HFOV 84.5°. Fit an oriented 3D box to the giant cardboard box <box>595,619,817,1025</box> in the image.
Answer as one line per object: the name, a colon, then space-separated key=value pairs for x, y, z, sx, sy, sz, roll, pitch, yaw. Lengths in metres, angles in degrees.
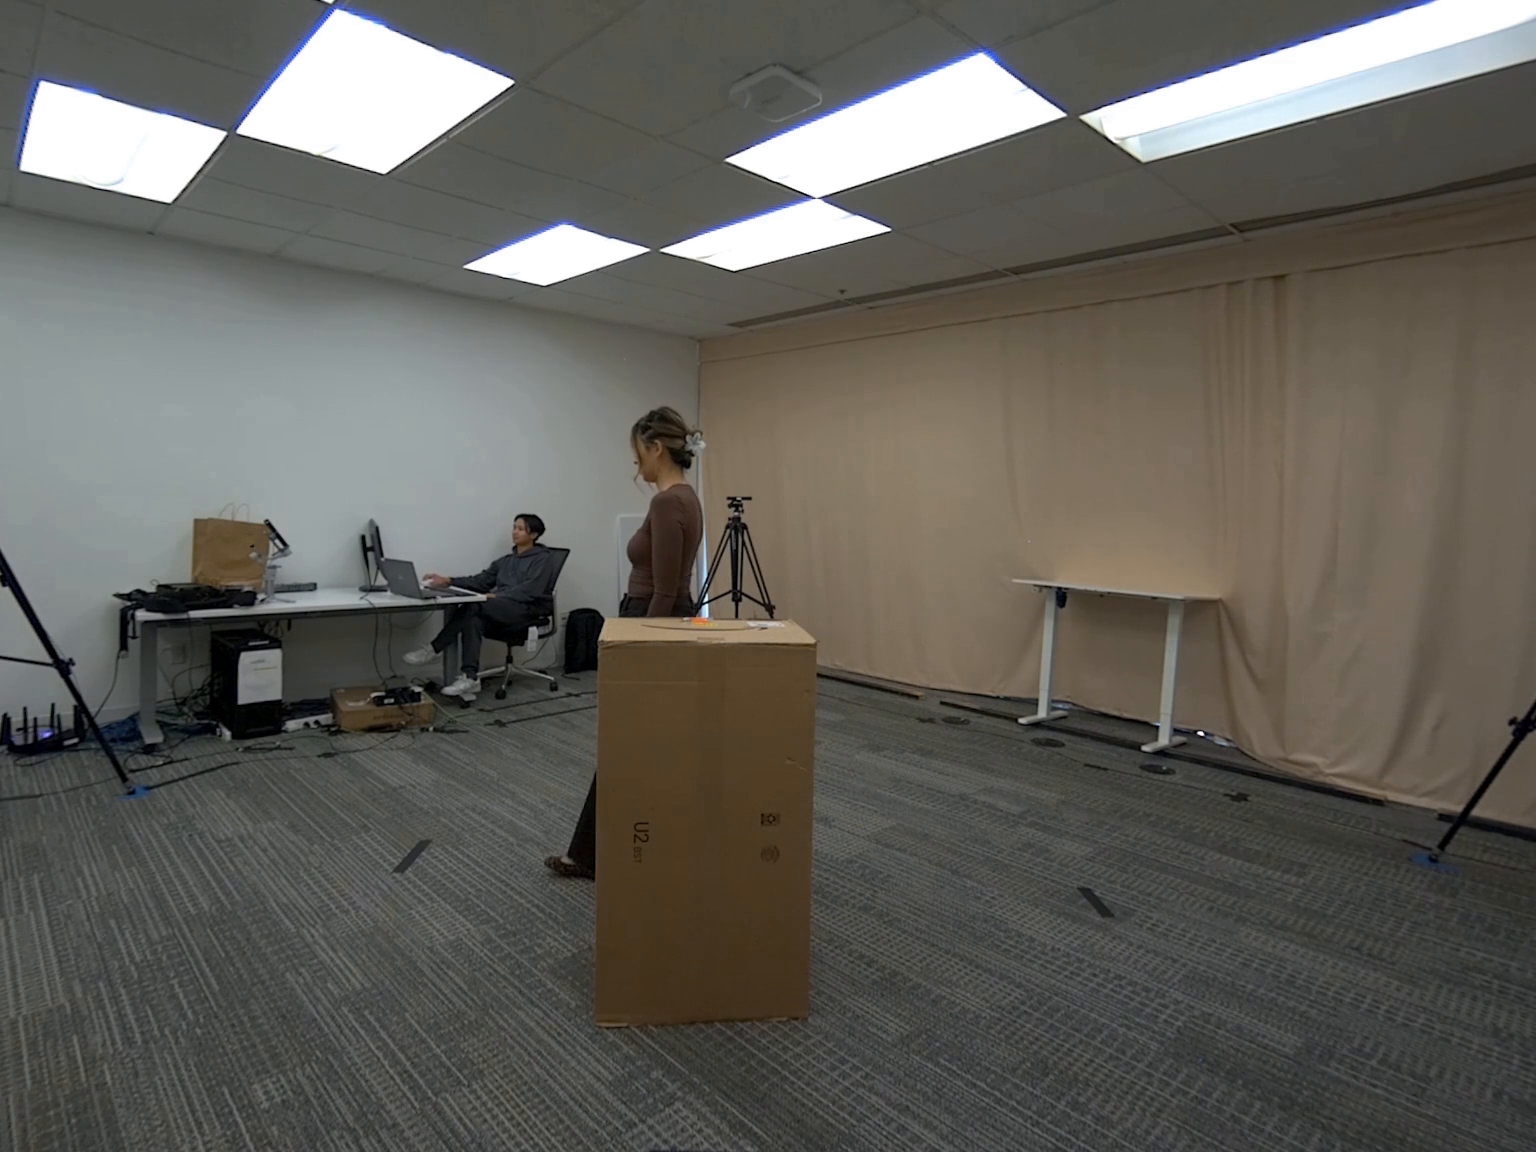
giant cardboard box: x=-0.198 y=0.661 z=2.406 sx=0.580 sy=1.024 sz=0.451 roll=2 pitch=4 yaw=-8
